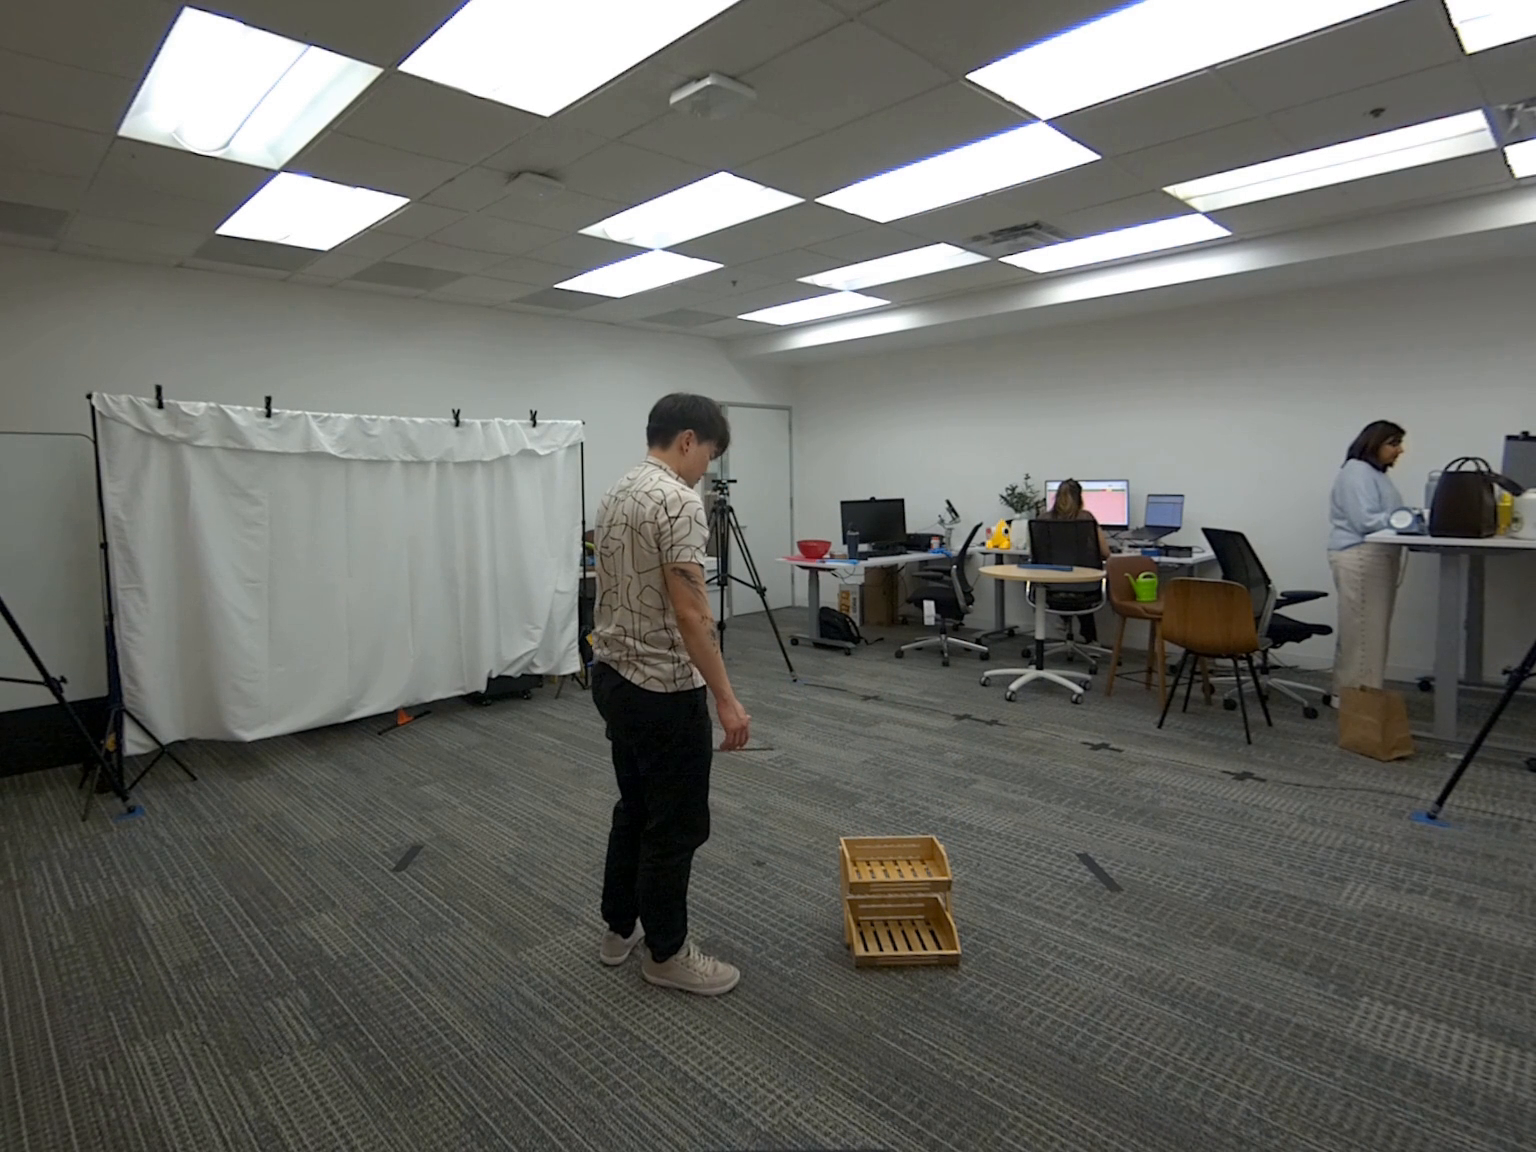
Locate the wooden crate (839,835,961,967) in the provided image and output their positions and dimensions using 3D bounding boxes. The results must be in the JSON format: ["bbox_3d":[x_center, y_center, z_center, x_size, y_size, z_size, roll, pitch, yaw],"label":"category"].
[{"bbox_3d":[0.396,0.970,2.555,0.324,0.272,0.304,-1,6,-3],"label":"wooden crate"}]
